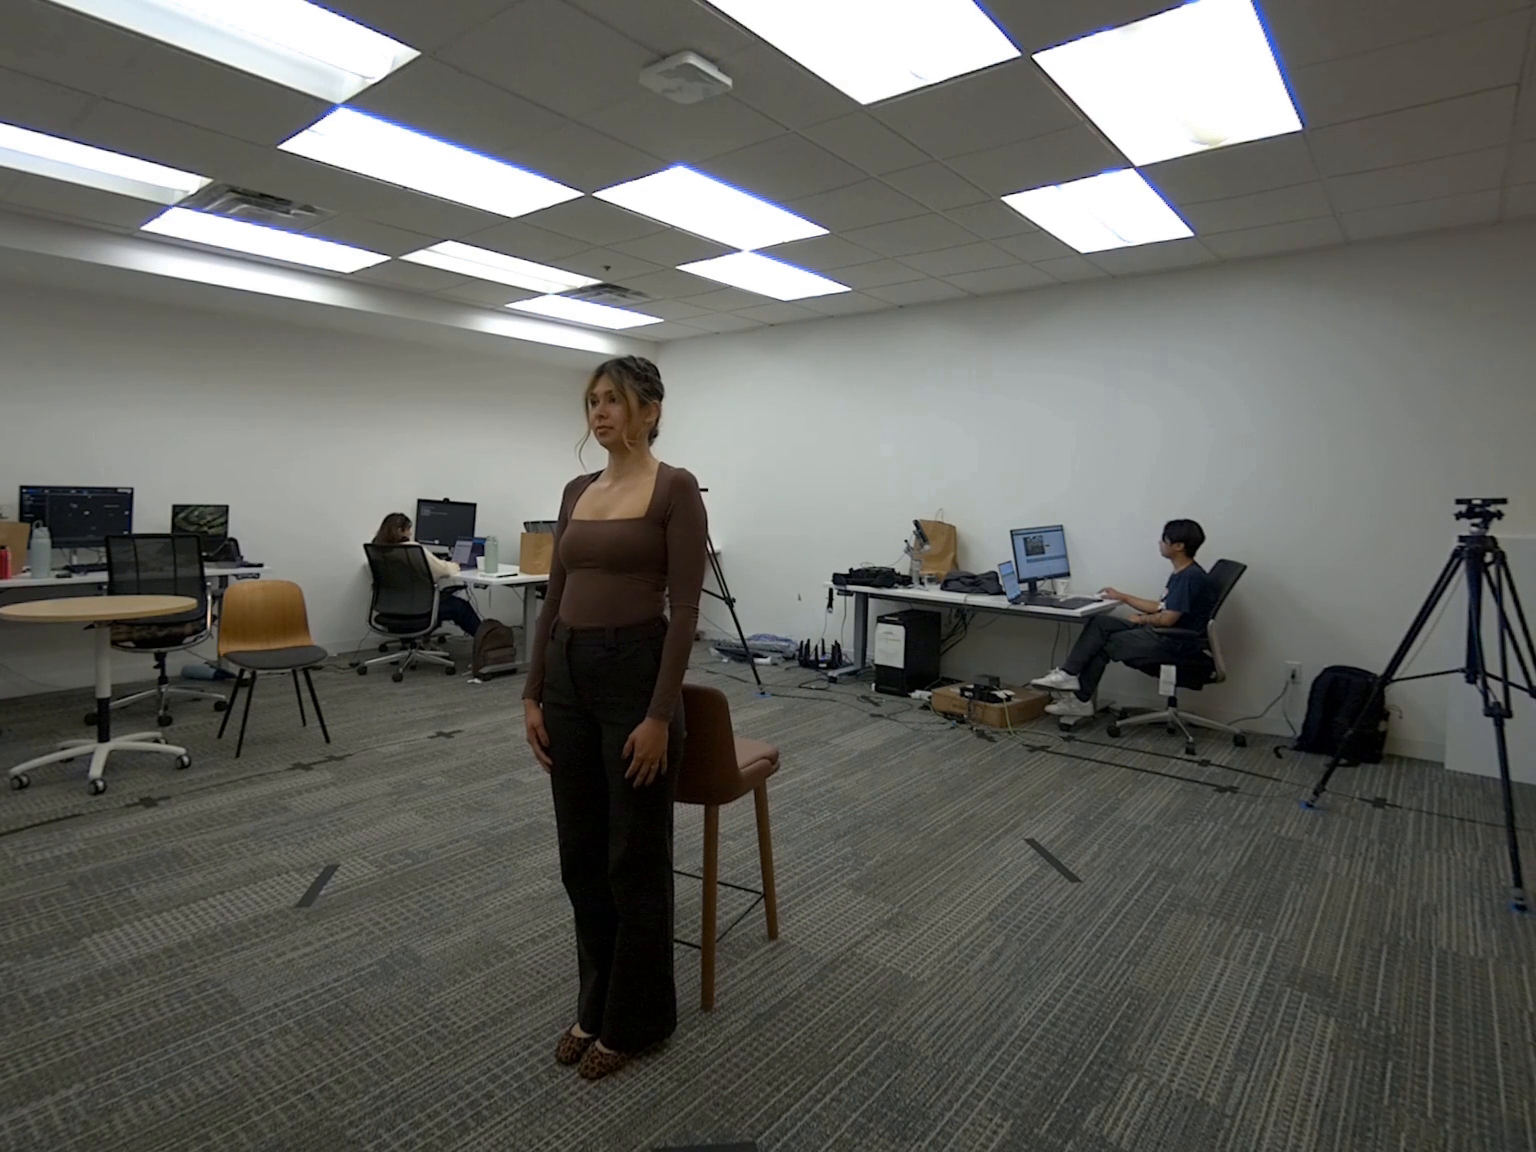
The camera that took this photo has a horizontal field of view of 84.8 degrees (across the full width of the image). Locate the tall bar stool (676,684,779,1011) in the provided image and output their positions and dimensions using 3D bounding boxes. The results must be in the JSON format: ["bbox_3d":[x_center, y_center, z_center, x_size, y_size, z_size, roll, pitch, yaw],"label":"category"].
[{"bbox_3d":[-0.241,0.690,2.512,0.468,0.885,0.458,2,6,25],"label":"tall bar stool"}]
